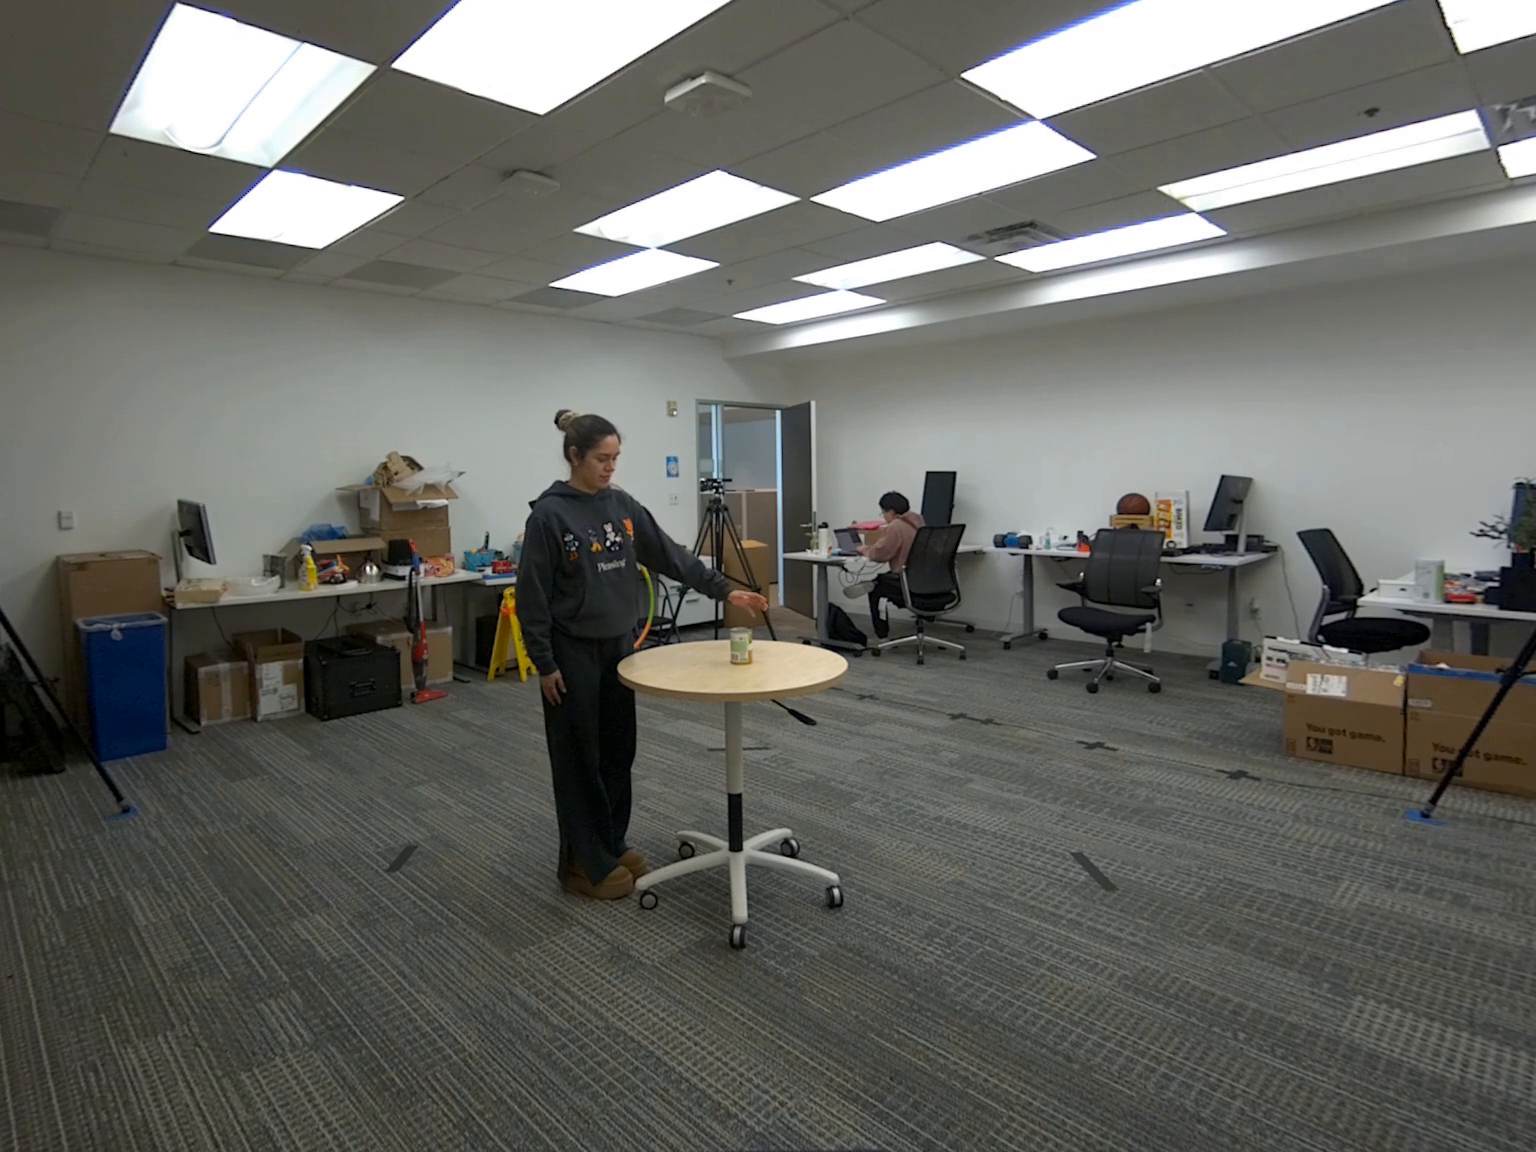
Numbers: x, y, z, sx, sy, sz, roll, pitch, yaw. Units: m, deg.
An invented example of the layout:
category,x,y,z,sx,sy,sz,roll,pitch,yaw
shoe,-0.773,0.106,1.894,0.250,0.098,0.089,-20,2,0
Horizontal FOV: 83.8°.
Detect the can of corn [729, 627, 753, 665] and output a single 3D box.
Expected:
category,x,y,z,sx,sy,sz,roll,pitch,yaw
can of corn,-0.094,0.232,2.841,0.074,0.111,0.074,-2,1,-2
